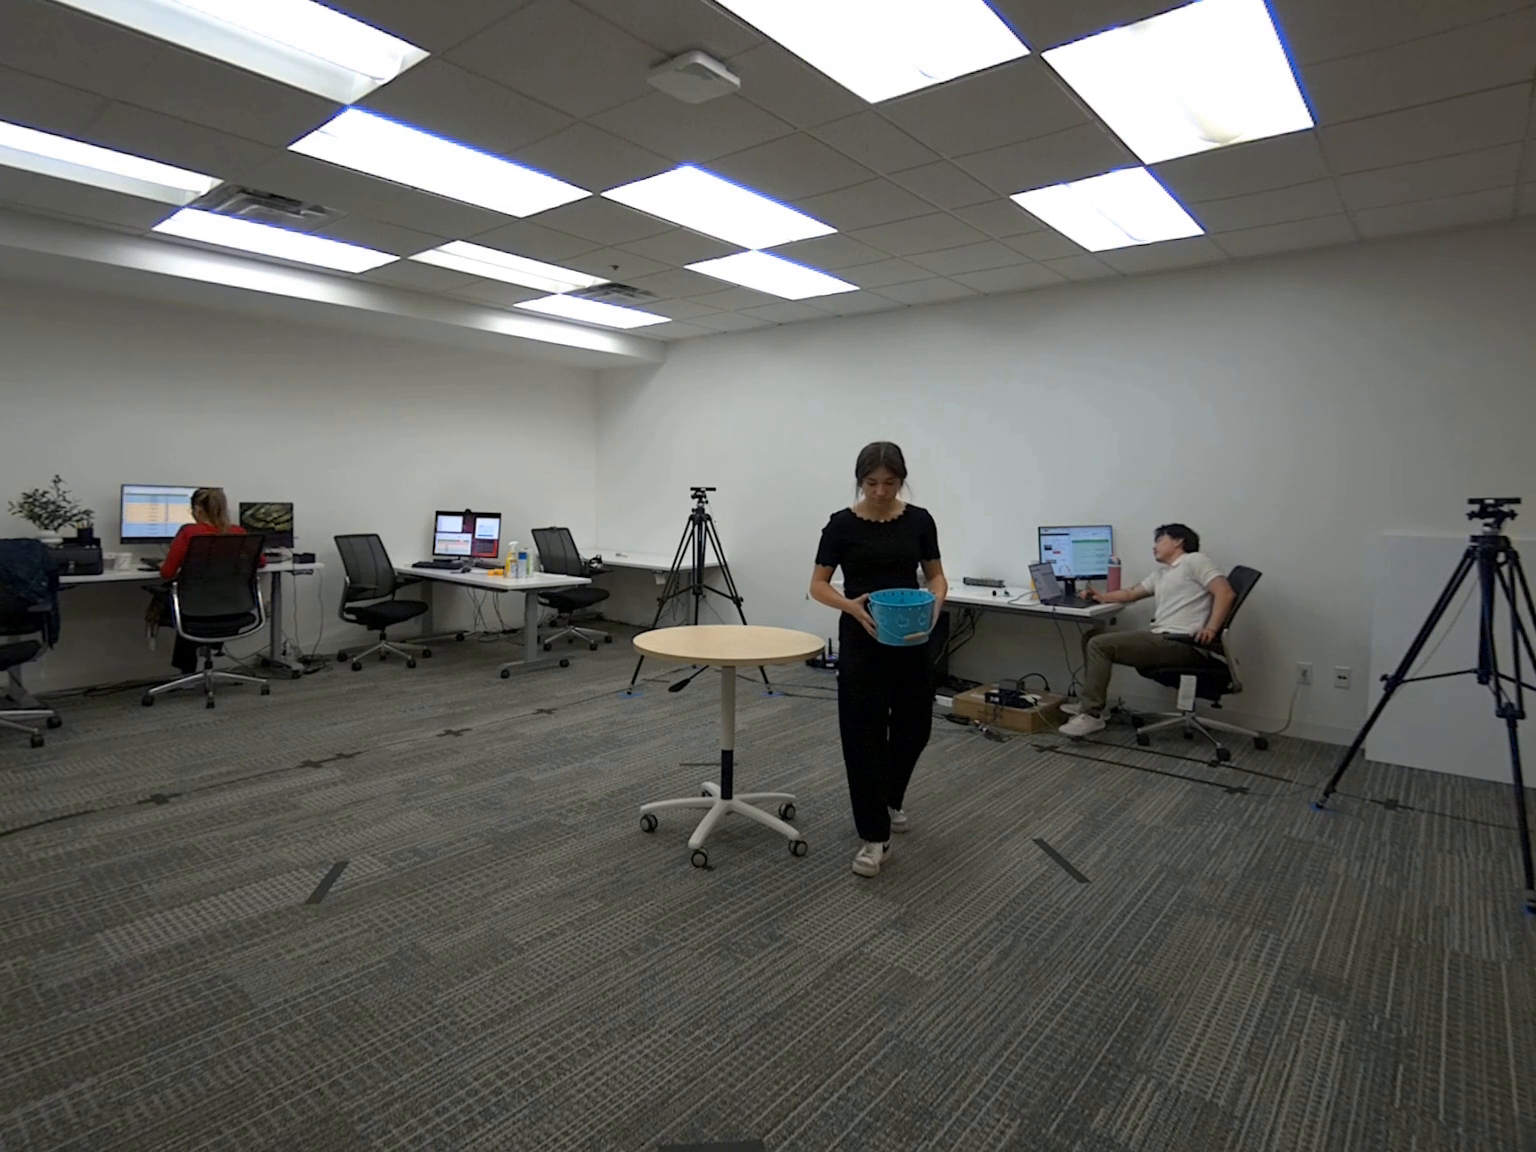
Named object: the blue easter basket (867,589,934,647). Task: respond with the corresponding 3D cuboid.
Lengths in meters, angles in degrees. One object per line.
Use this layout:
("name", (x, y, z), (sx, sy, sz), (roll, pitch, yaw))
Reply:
("blue easter basket", (0.473, 0.146, 3.014), (0.243, 0.154, 0.246), (-3, 11, -1))
